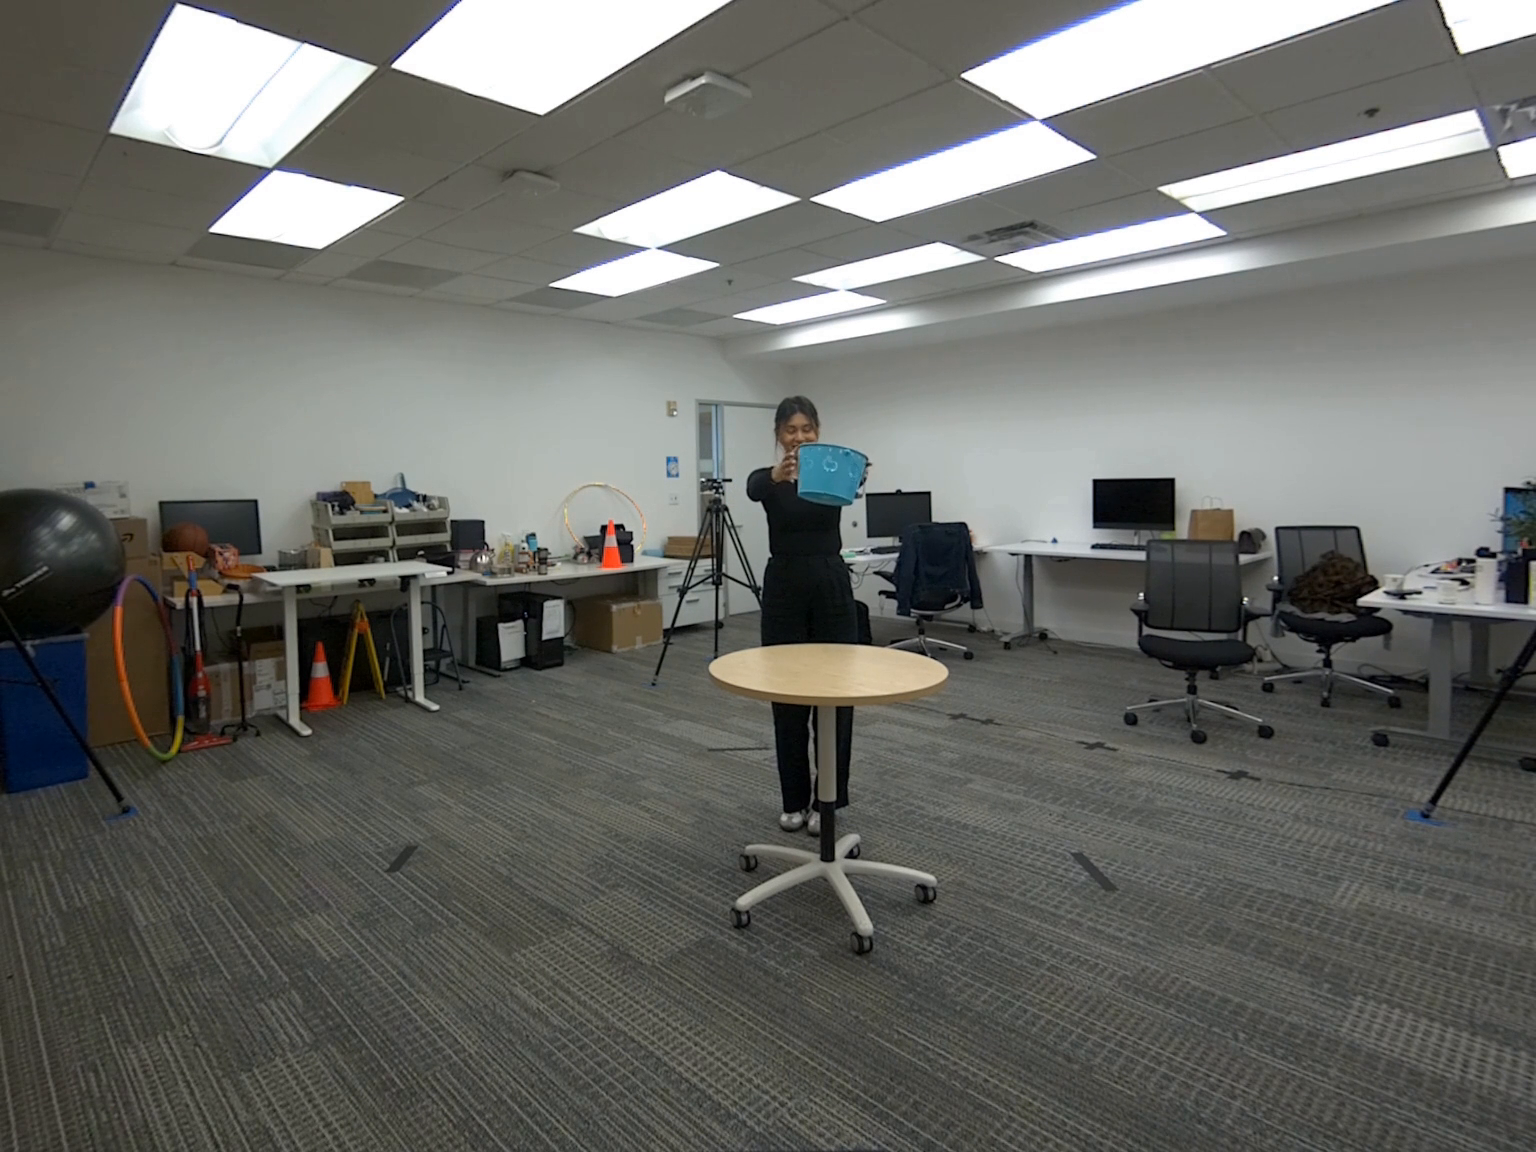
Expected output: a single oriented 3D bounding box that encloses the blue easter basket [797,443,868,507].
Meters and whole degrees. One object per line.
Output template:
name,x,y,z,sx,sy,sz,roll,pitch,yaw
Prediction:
blue easter basket,0.214,-0.326,2.760,0.244,0.156,0.242,10,-5,-1
